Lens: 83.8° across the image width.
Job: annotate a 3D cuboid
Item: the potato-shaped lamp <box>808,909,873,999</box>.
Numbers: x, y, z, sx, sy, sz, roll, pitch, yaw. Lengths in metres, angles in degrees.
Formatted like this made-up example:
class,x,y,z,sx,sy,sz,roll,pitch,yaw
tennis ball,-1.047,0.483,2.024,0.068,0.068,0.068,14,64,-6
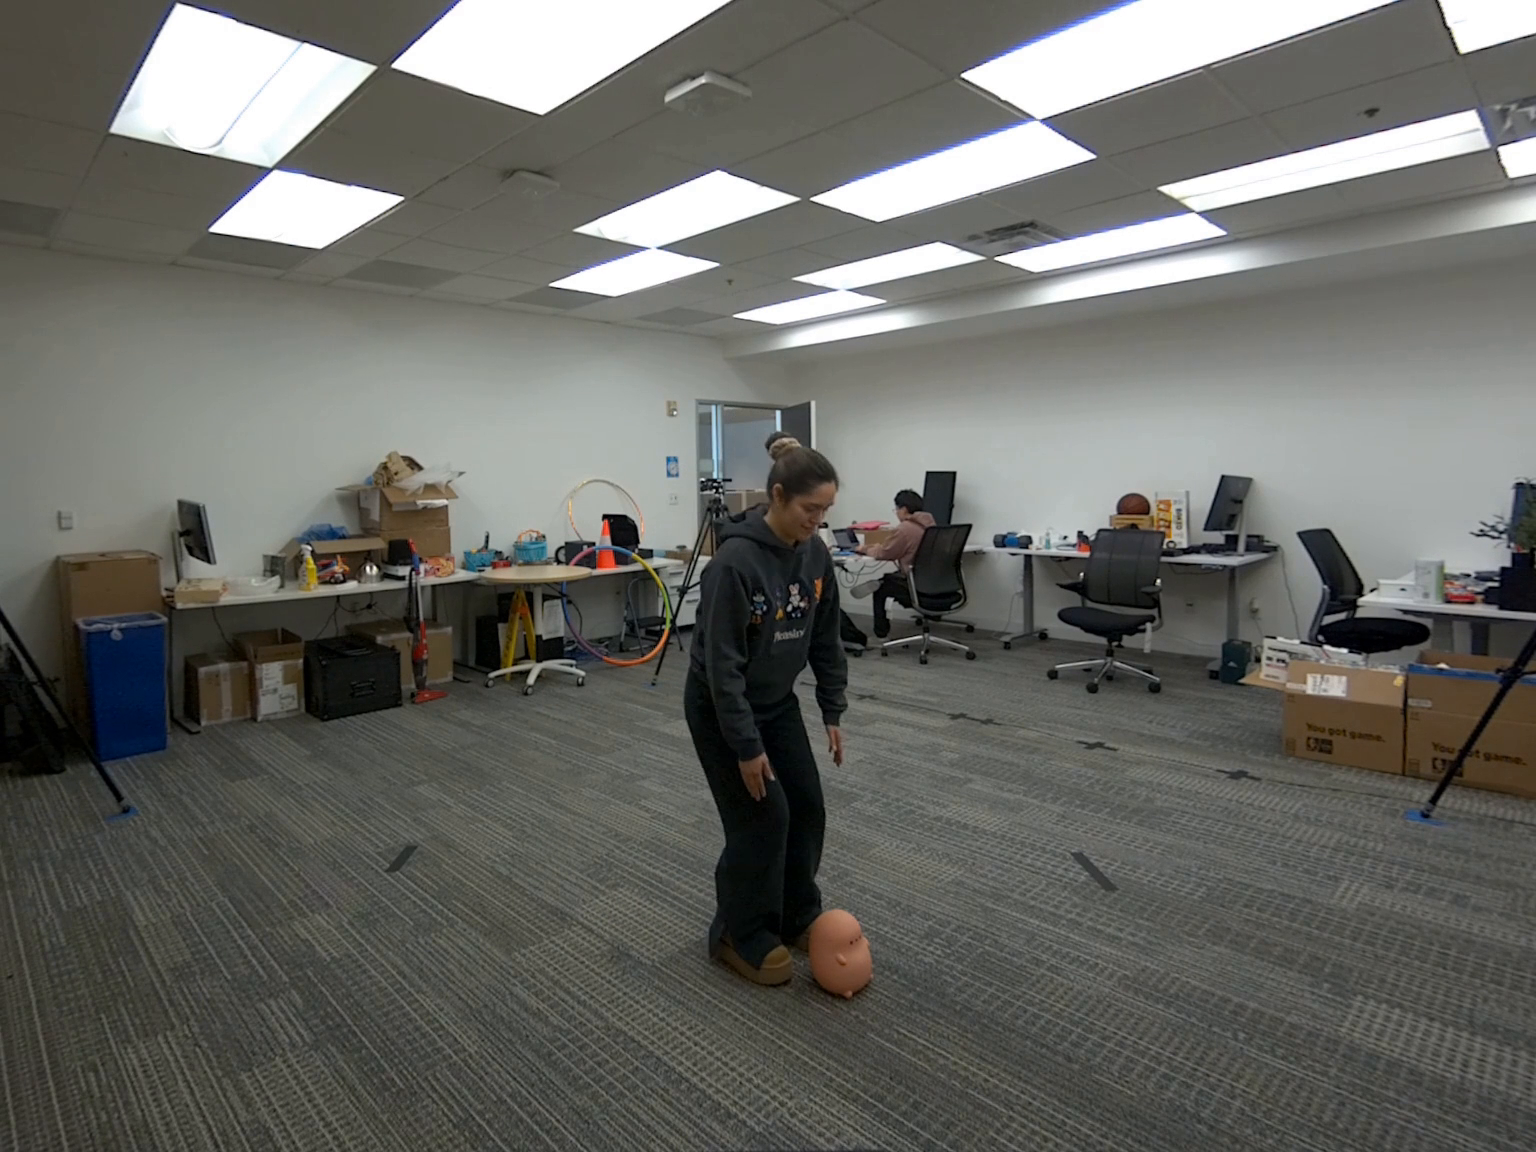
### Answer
class,x,y,z,sx,sy,sz,roll,pitch,yaw
potato-shaped lamp,0.199,1.025,2.337,0.176,0.198,0.160,1,4,44
